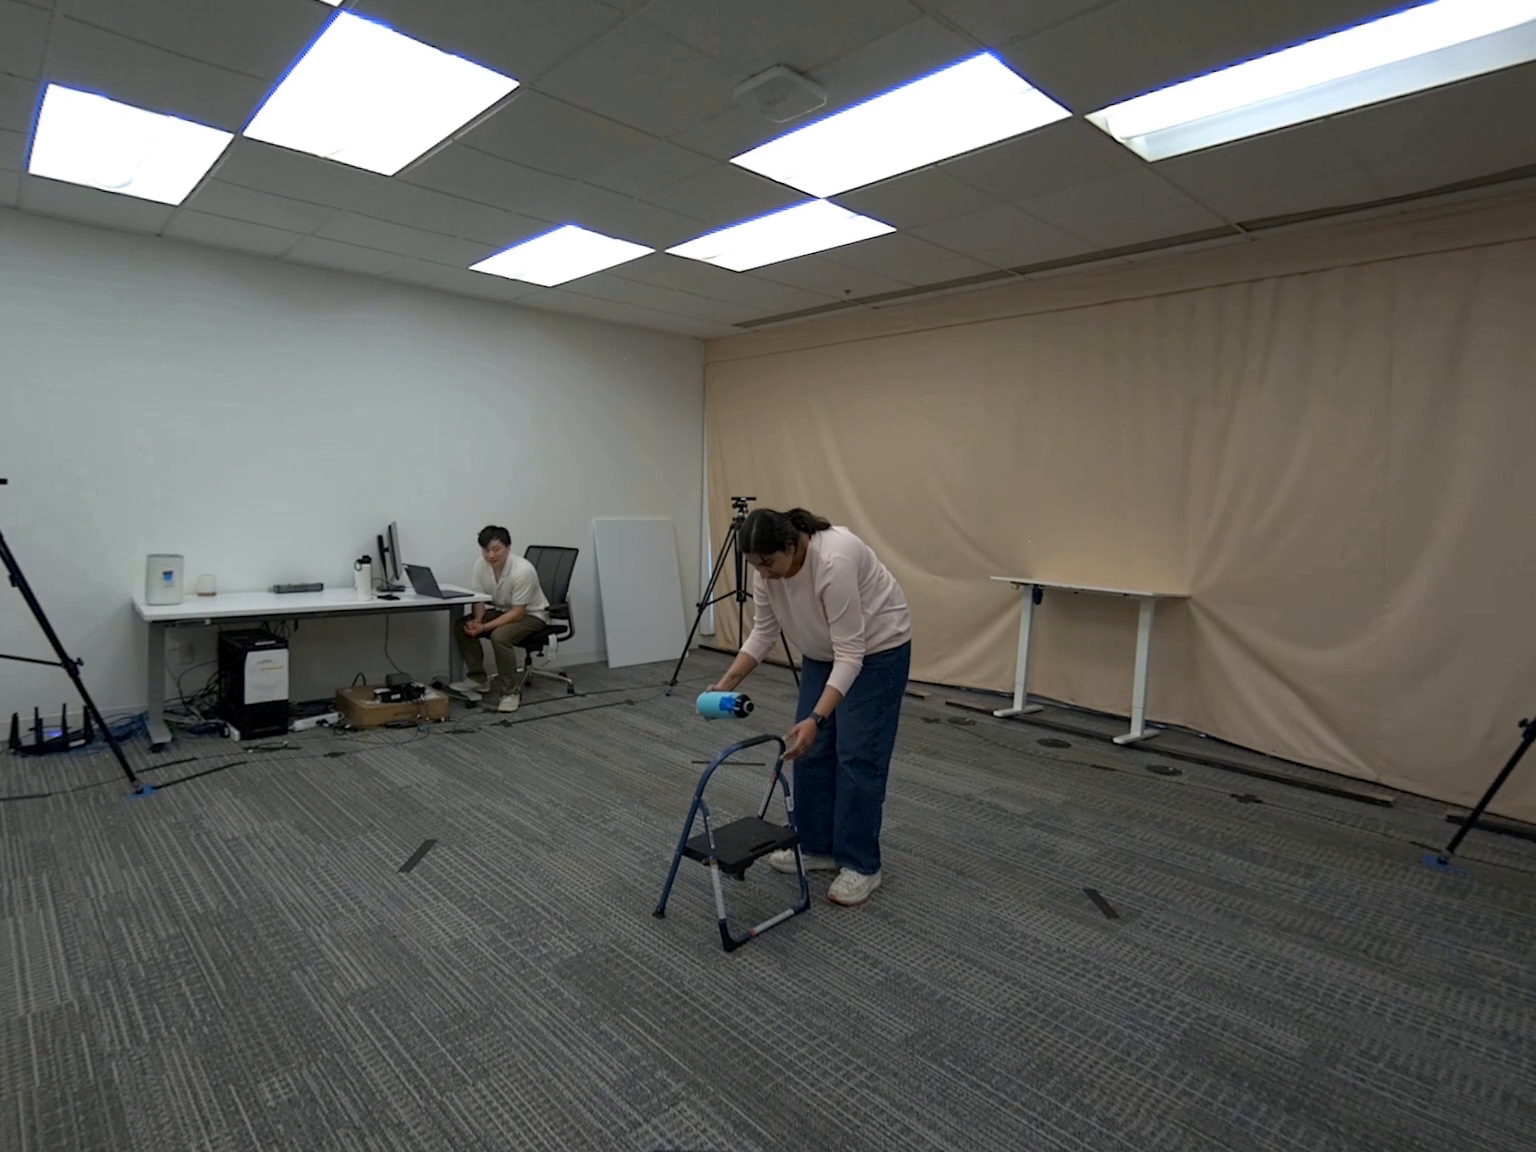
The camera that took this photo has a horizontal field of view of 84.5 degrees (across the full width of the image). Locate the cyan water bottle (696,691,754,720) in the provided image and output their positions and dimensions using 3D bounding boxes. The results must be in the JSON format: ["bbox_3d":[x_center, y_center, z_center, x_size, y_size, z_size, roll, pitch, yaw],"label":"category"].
[{"bbox_3d":[-0.155,0.445,2.893,0.090,0.093,0.288,-1,-5,-31],"label":"cyan water bottle"}]
